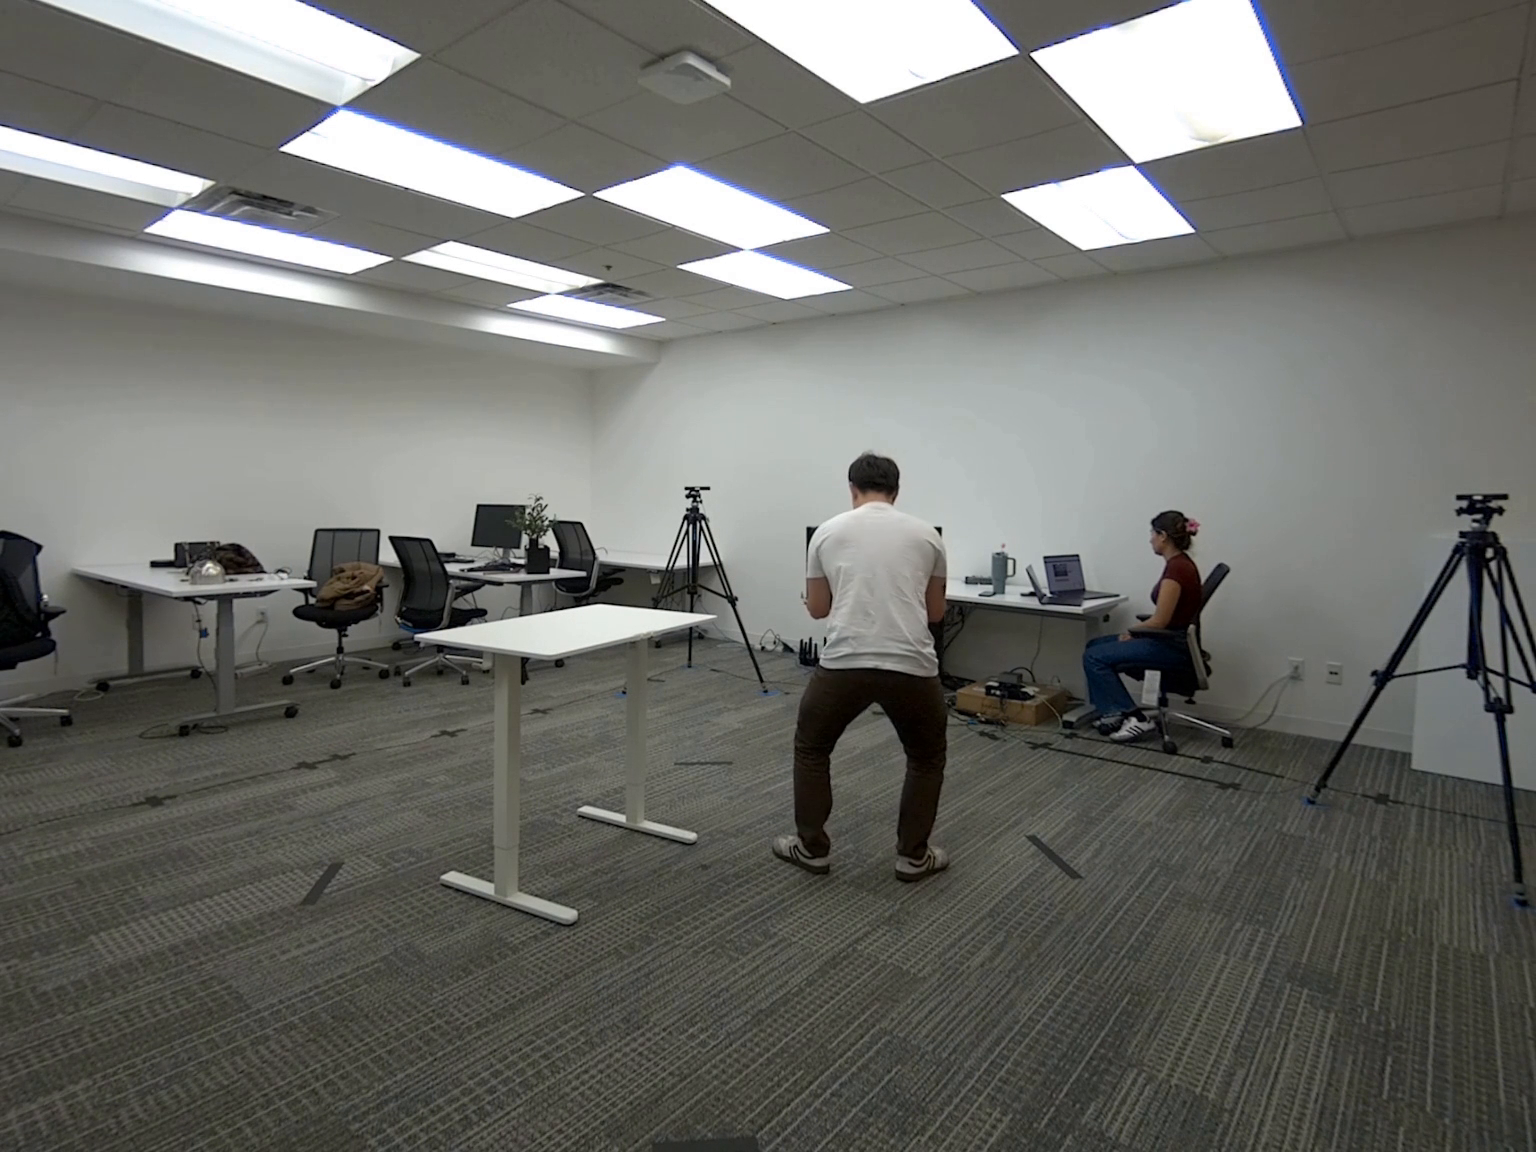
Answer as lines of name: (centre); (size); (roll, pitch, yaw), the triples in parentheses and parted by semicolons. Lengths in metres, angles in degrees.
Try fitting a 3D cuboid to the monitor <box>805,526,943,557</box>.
monitor: (0.413, 0.058, 3.416); (0.542, 0.521, 0.186); (1, 2, 5)
